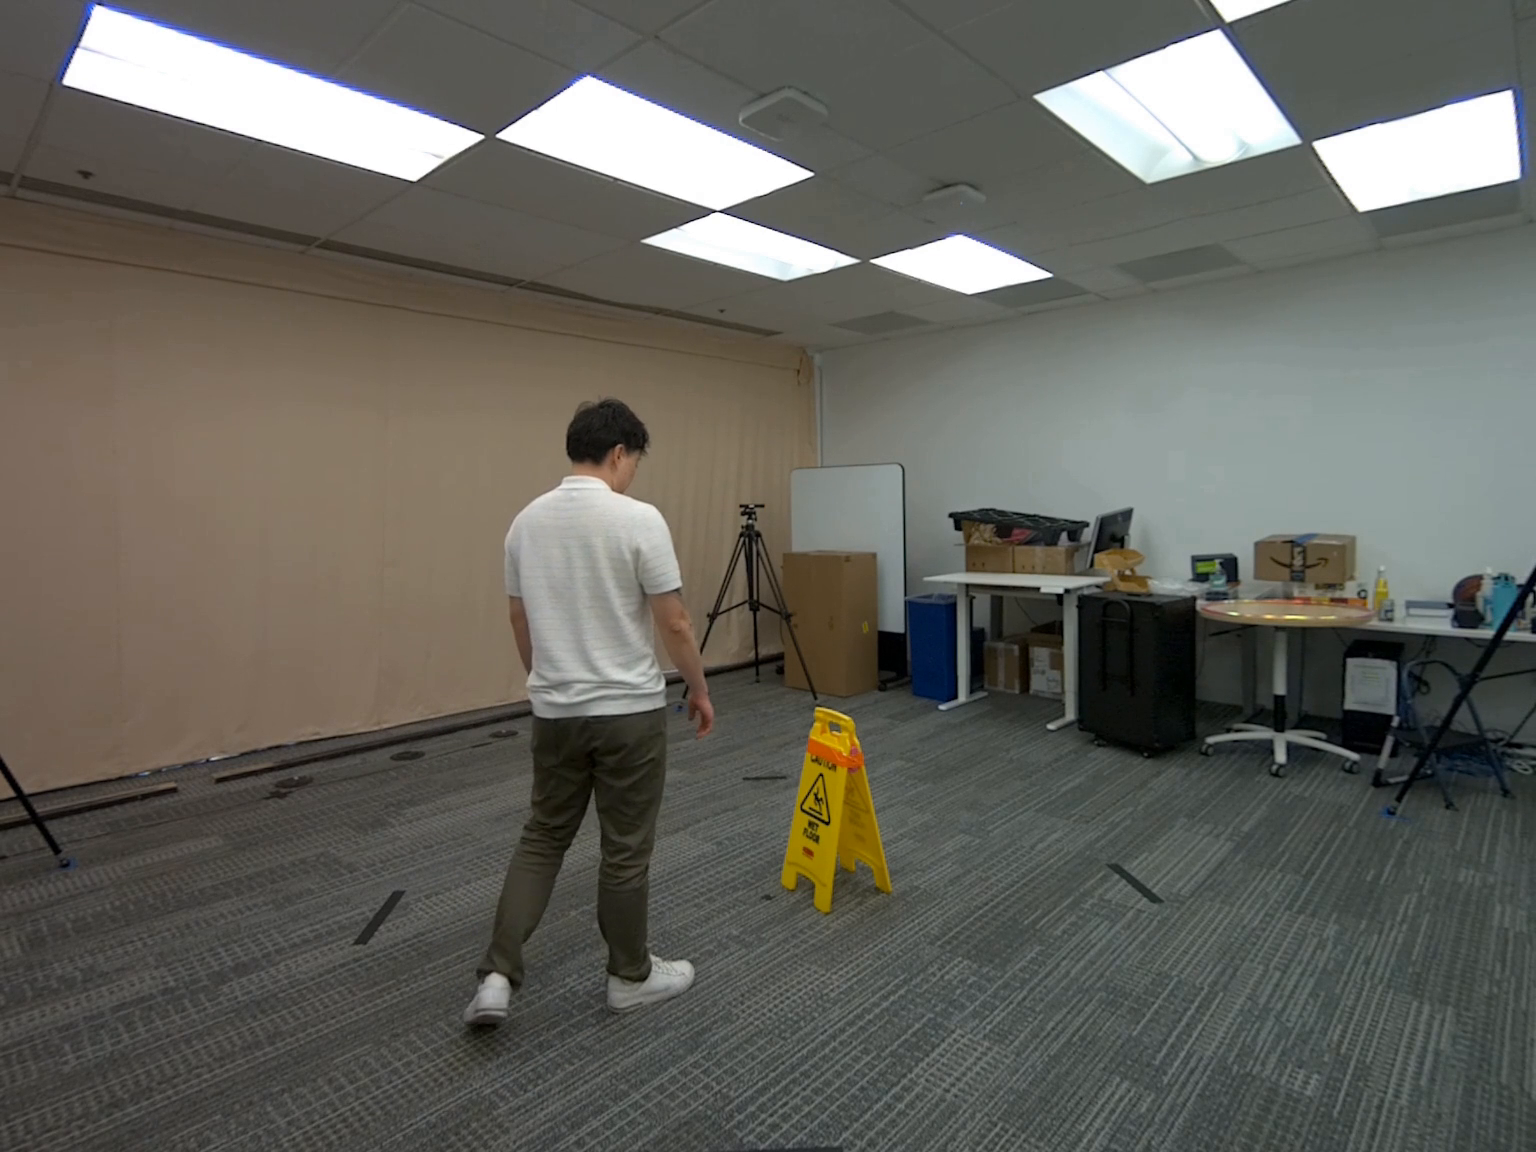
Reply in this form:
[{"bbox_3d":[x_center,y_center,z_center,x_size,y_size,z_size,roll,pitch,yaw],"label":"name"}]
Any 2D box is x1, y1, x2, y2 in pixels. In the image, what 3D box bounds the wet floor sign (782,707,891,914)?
[{"bbox_3d":[0.242,0.807,3.023,0.282,0.645,0.291,-3,4,-32],"label":"wet floor sign"}]
